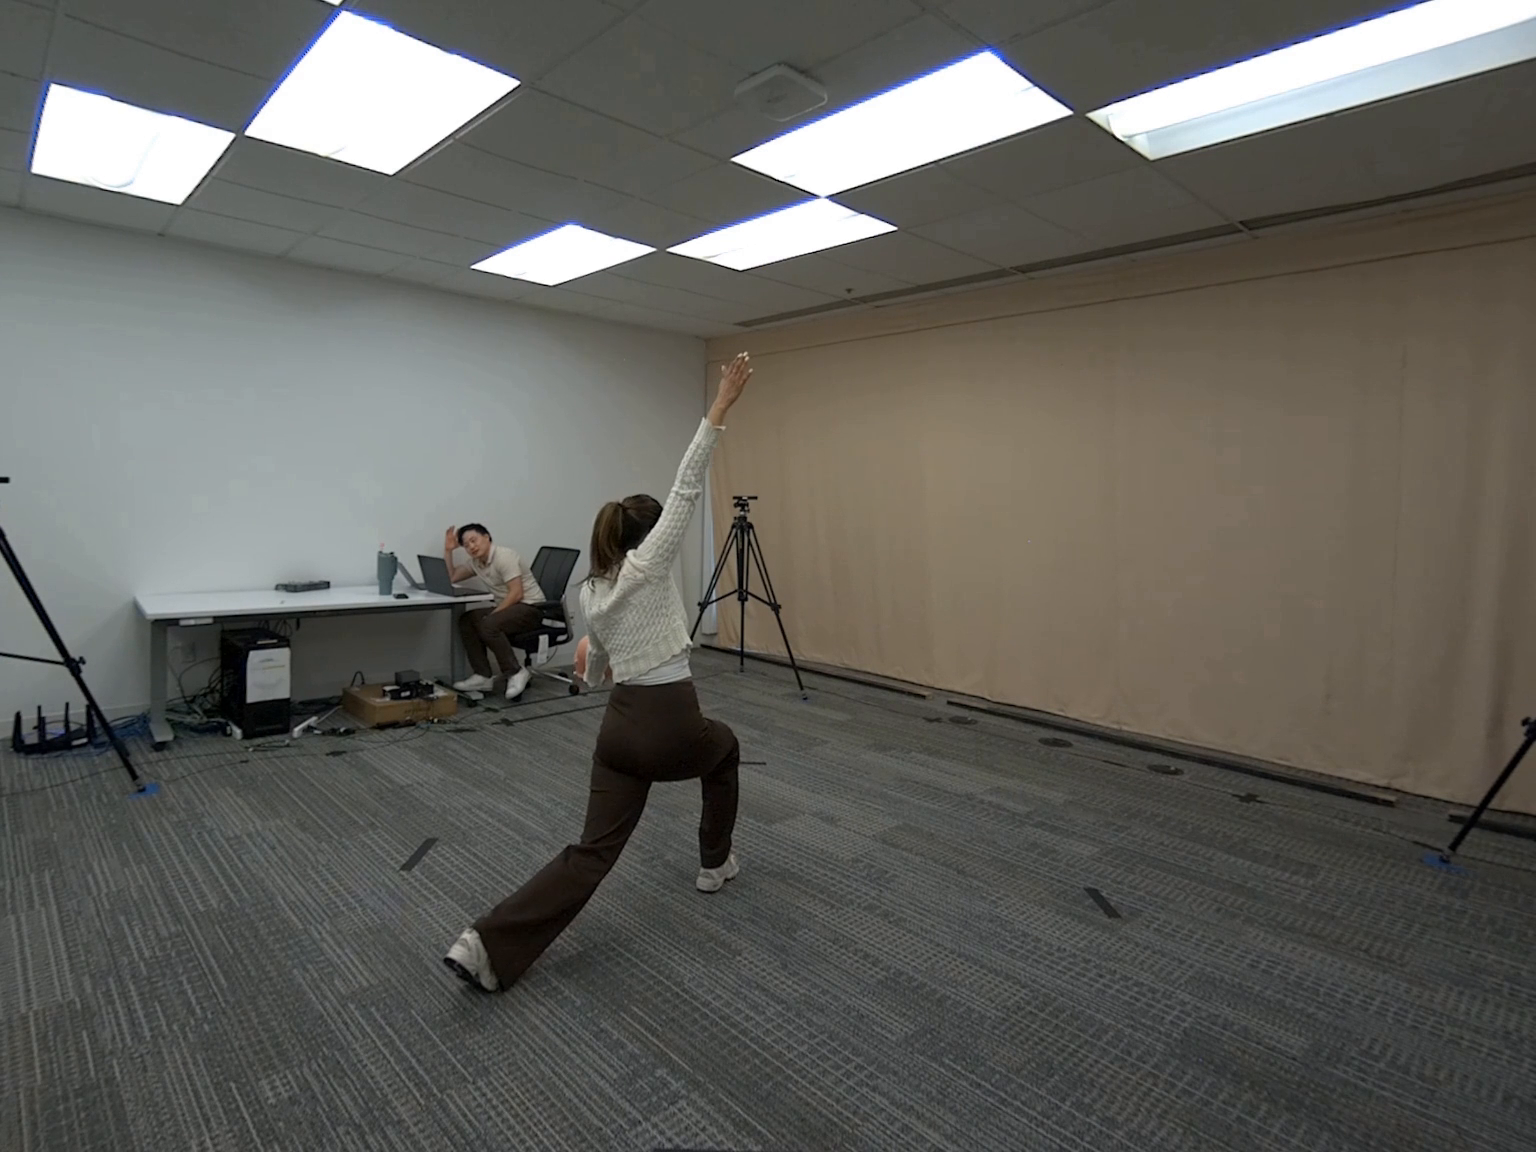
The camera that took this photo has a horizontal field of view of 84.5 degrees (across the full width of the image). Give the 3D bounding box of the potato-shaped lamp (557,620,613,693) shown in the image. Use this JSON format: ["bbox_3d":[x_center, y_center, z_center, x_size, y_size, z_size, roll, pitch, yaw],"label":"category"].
[{"bbox_3d":[-0.689,0.315,3.329,0.174,0.166,0.193,16,-31,18],"label":"potato-shaped lamp"}]
